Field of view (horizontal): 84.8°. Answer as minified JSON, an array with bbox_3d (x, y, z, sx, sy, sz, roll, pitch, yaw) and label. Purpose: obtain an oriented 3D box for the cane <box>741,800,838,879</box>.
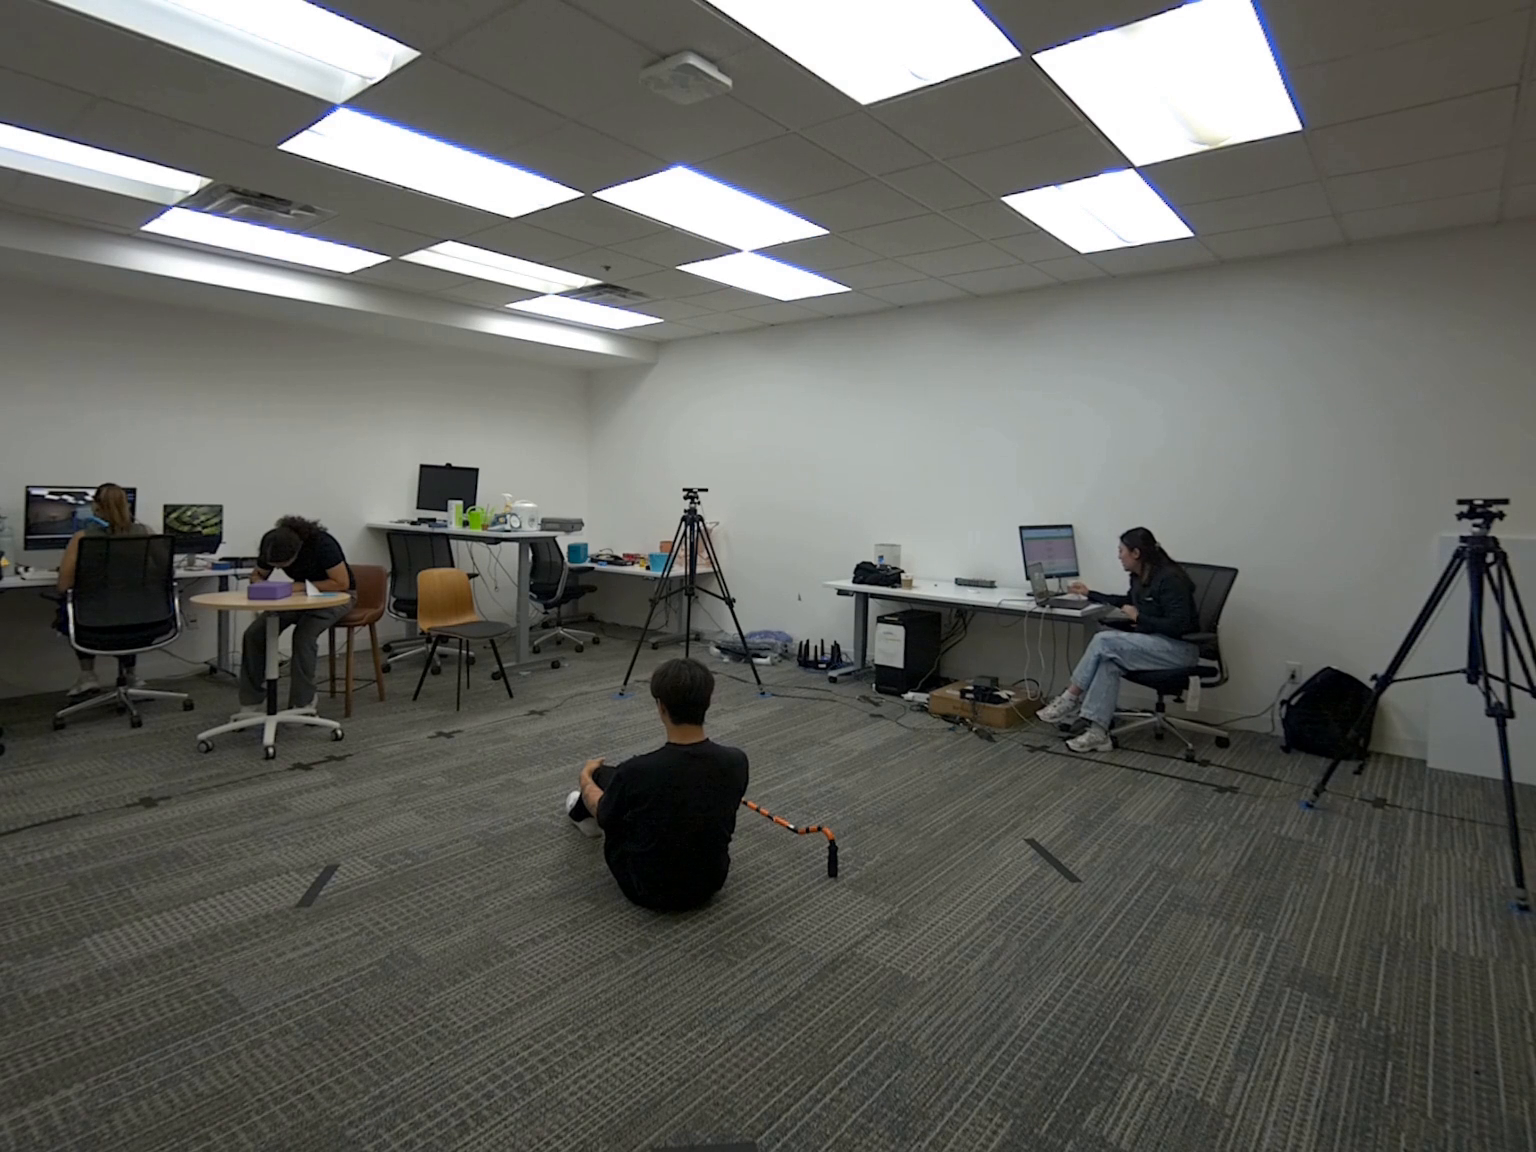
[{"bbox_3d":[-0.025,0.932,3.441,0.147,0.206,0.938,0,5,-35],"label":"cane"}]
